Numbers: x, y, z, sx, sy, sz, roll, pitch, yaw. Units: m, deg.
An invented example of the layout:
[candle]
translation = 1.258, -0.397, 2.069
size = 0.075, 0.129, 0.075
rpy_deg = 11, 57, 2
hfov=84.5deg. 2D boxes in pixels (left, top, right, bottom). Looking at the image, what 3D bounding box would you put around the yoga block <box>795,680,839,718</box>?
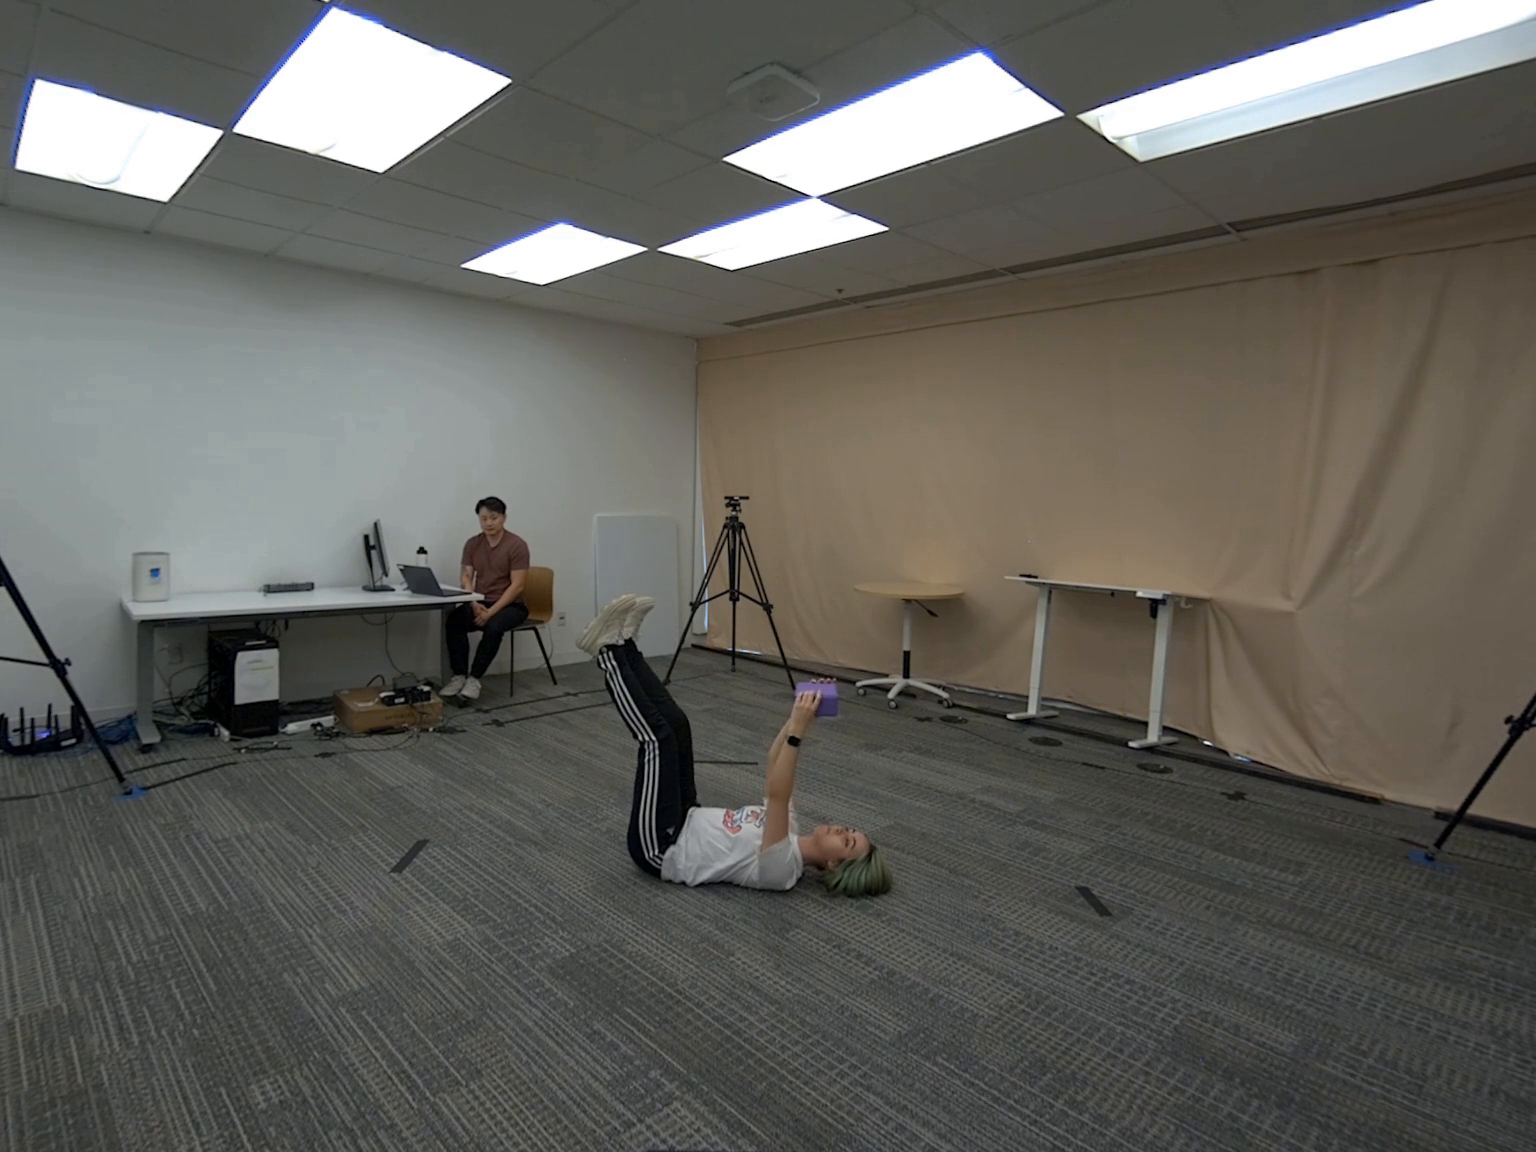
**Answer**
[yoga block]
translation = 0.168, 0.448, 3.037
size = 0.150, 0.076, 0.229
rpy_deg = 0, 5, 5
